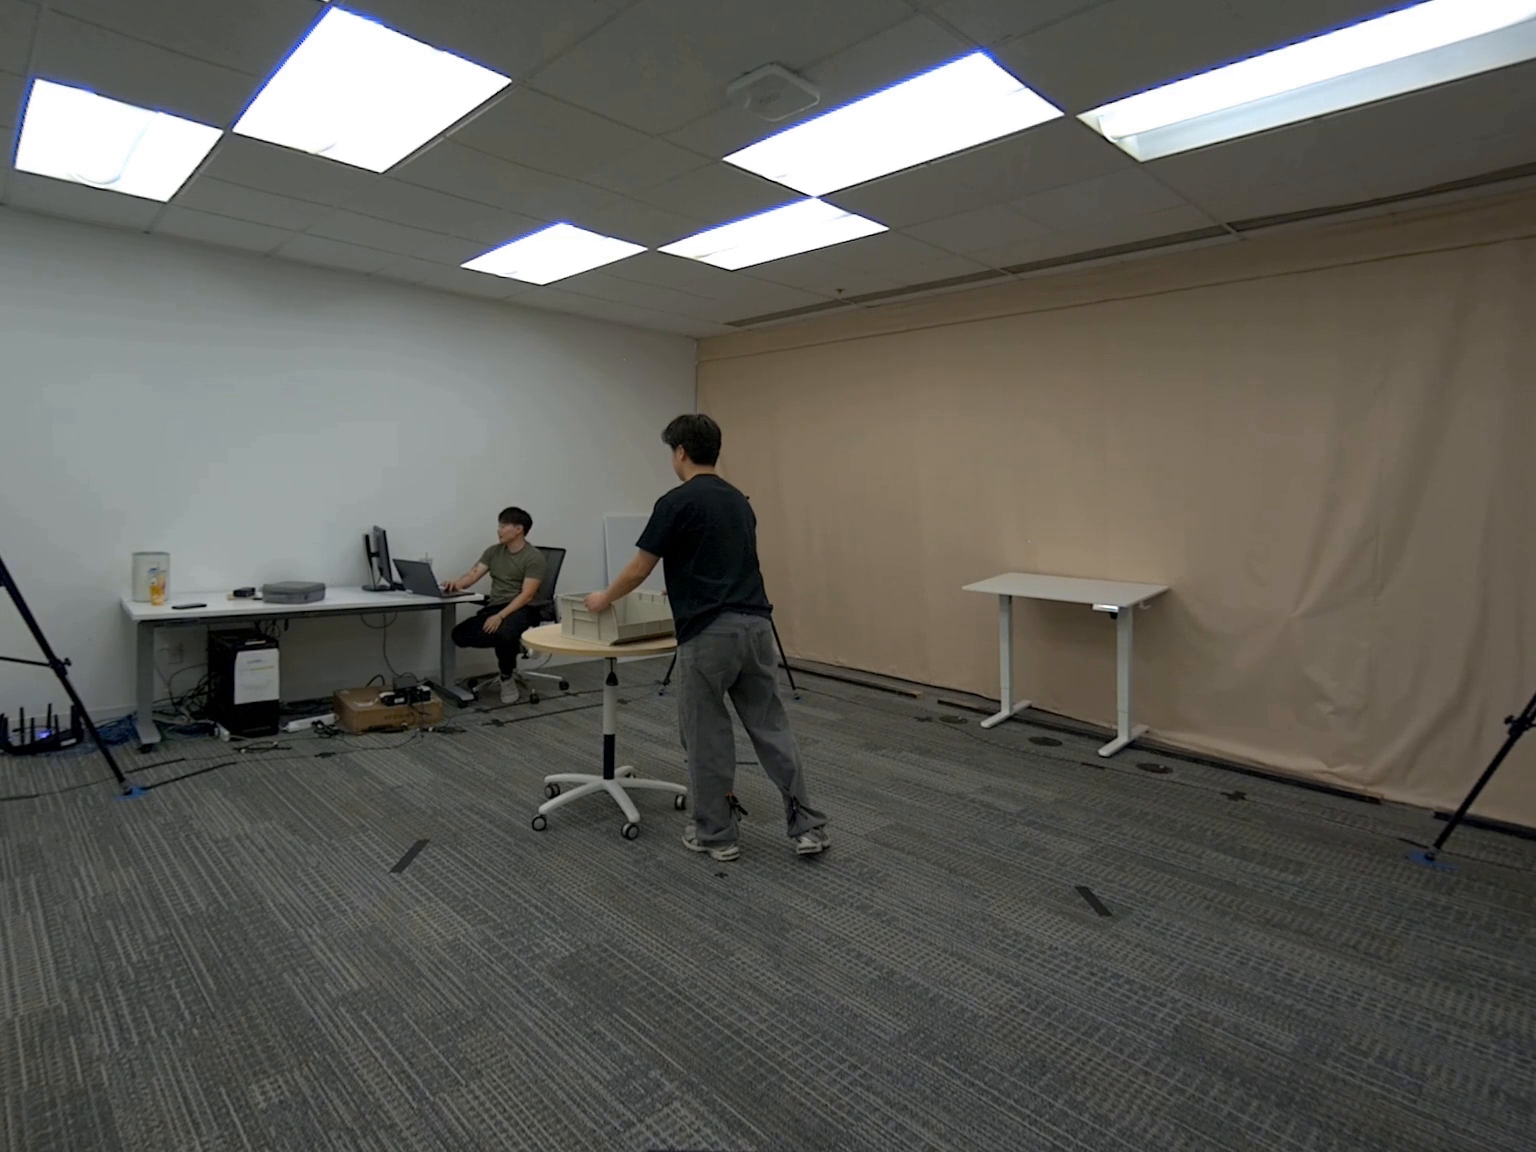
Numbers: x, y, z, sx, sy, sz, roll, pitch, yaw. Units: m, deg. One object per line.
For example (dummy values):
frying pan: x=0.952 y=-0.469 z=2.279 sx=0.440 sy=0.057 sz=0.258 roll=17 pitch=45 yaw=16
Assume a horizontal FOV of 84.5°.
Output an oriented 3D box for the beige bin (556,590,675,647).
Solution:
beige bin: x=-0.631 y=0.175 z=3.642 sx=0.387 sy=0.188 sz=0.413 roll=4 pitch=6 yaw=39
